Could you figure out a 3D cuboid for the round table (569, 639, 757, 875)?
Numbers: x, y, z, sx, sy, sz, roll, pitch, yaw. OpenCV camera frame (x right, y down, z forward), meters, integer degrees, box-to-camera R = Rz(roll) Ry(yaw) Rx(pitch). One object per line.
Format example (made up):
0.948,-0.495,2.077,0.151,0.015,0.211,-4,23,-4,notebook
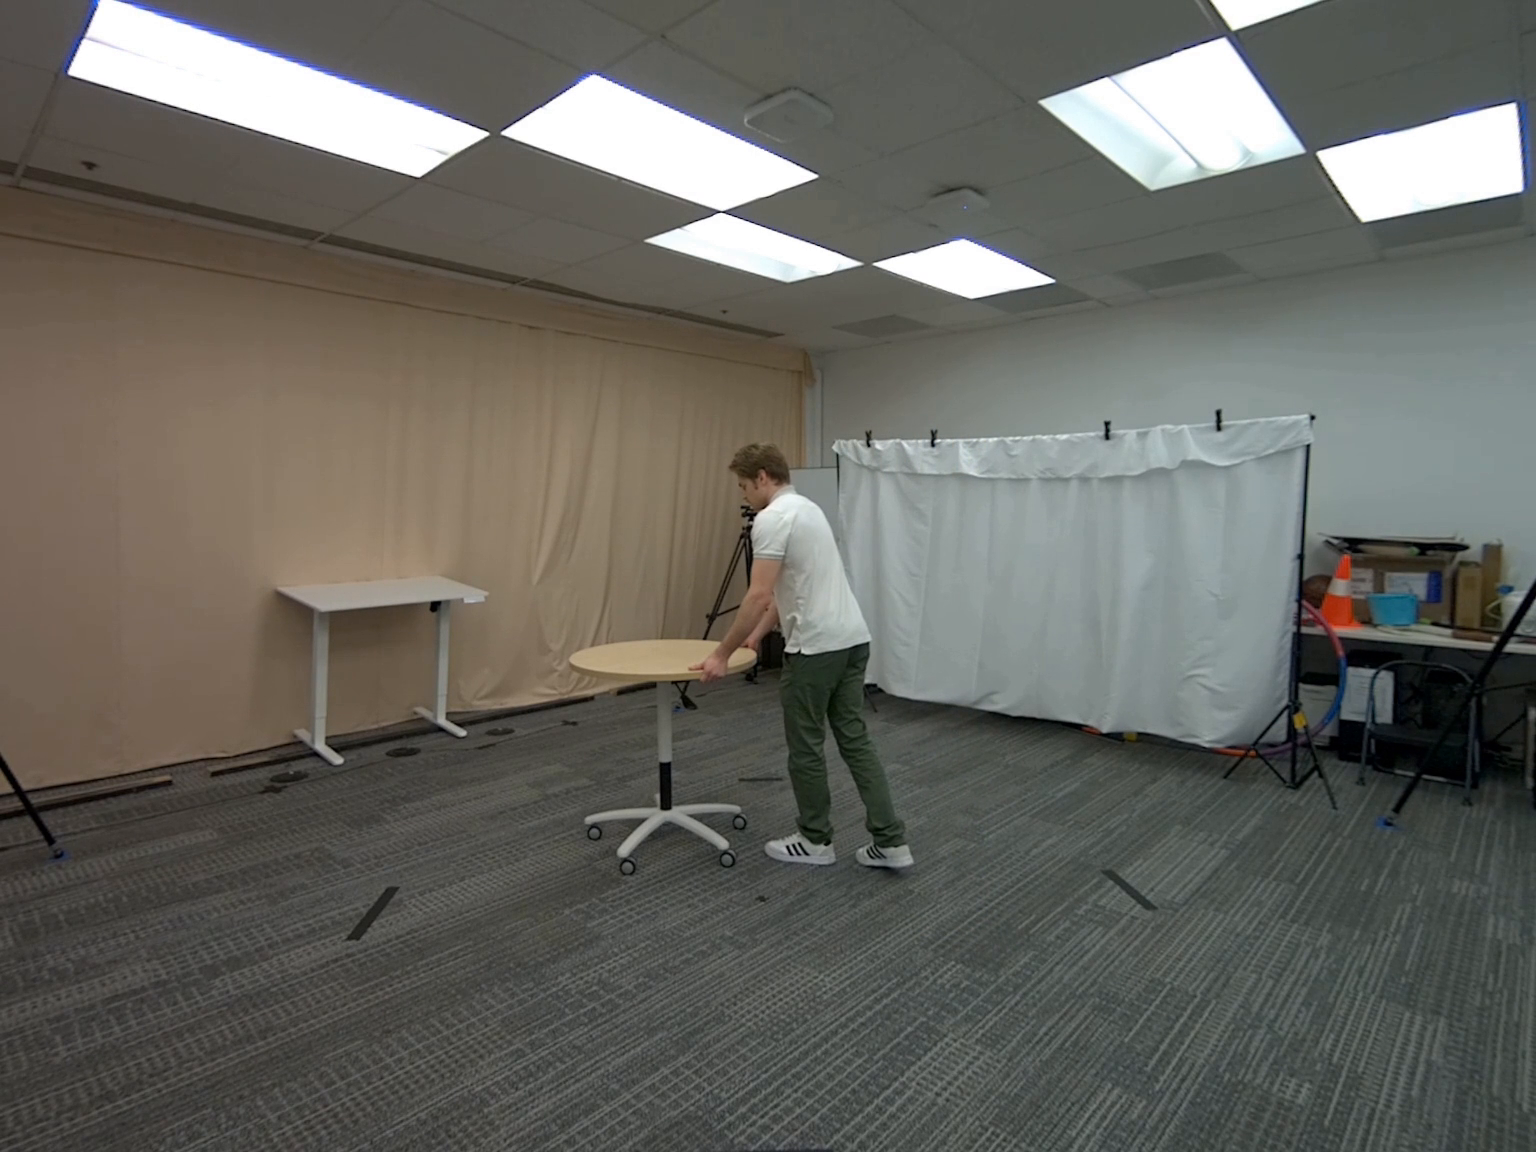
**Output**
-0.406,0.712,3.480,0.784,0.785,0.788,-1,4,-2,round table
